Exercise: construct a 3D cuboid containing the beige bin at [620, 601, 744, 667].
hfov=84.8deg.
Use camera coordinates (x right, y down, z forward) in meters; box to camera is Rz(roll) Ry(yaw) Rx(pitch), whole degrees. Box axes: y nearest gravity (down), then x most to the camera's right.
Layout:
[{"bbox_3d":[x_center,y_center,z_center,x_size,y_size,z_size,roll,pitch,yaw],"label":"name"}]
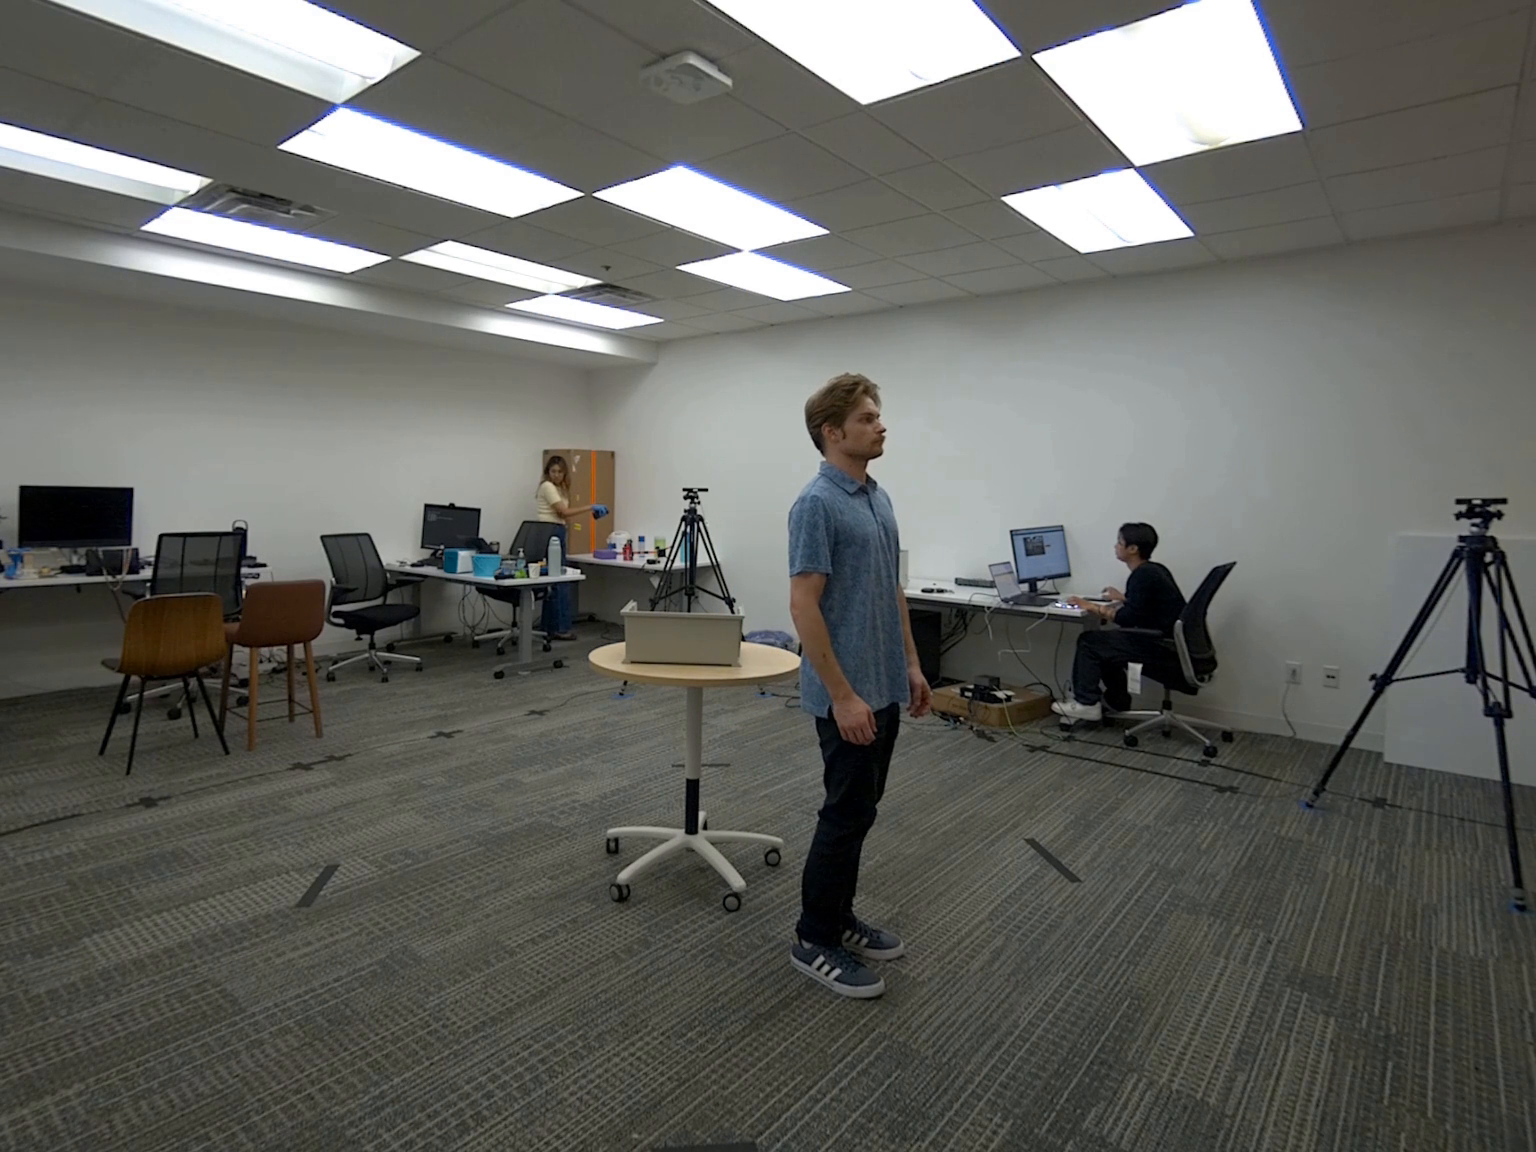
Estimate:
[{"bbox_3d":[-0.322,0.194,3.082,0.422,0.188,0.380,1,7,-1],"label":"beige bin"}]
